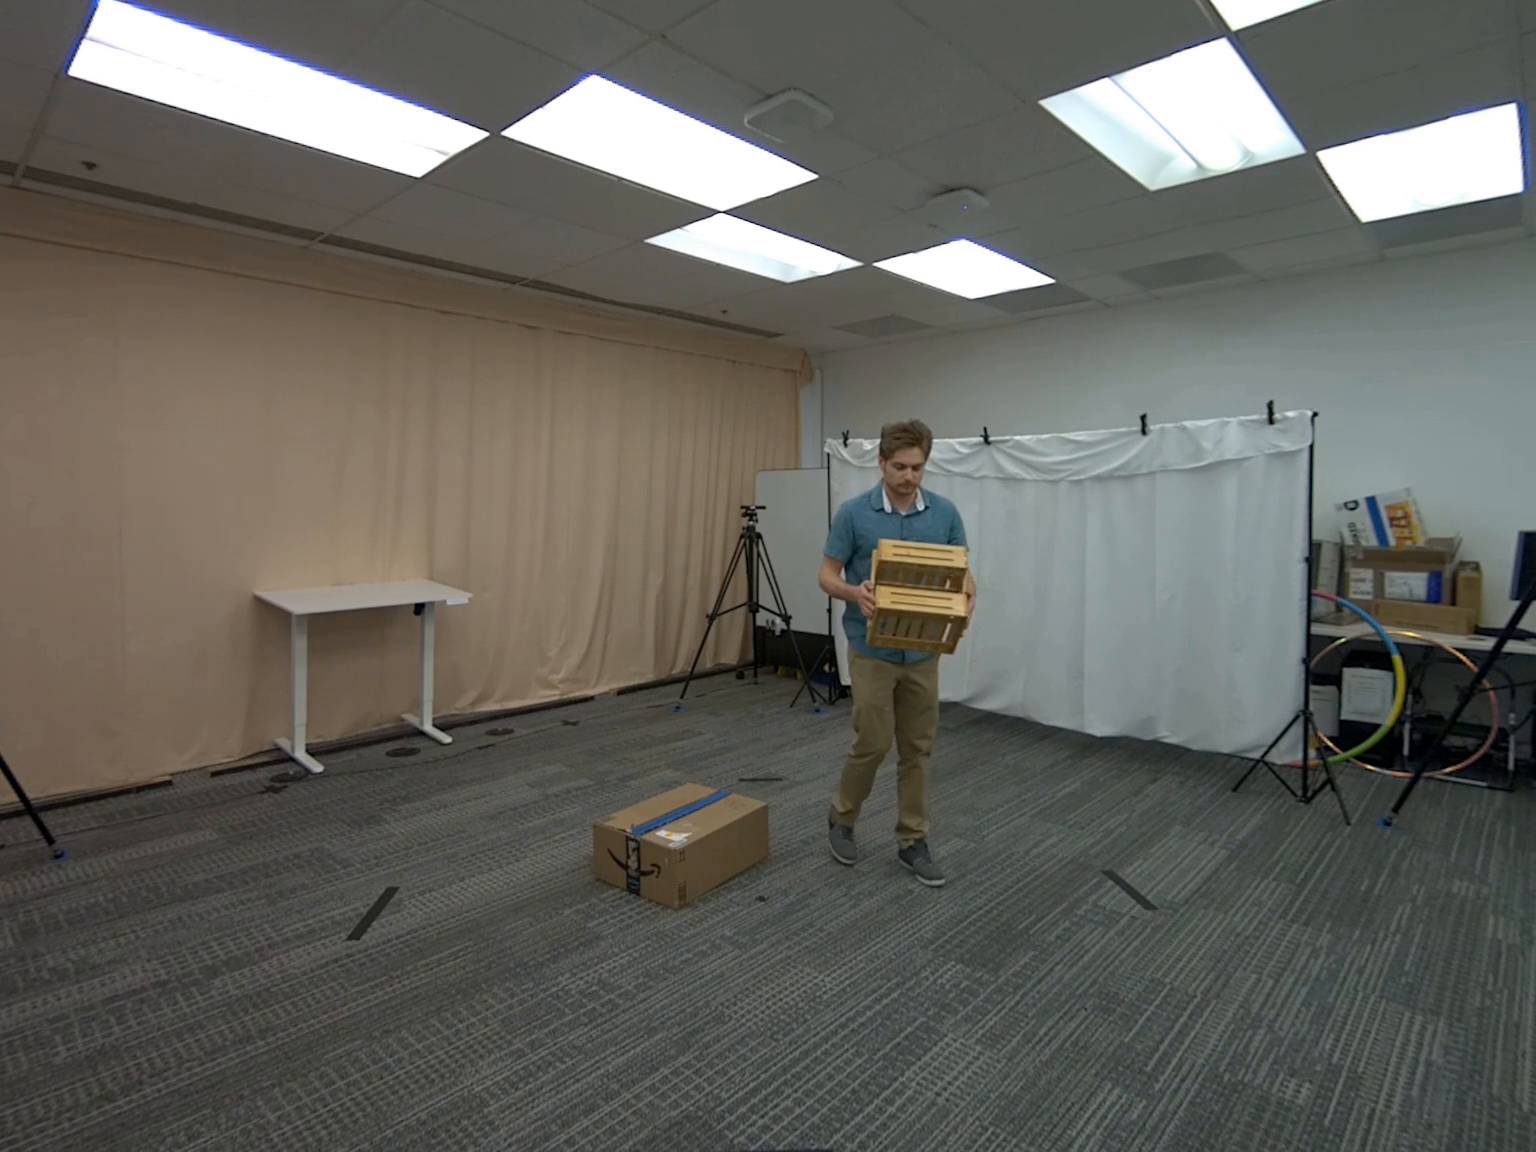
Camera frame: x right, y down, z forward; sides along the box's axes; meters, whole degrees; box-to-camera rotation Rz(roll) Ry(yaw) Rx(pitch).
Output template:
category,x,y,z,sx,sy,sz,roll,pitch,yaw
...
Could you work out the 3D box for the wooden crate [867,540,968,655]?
category,x,y,z,sx,sy,sz,roll,pitch,yaw
wooden crate,0.510,0.073,2.961,0.325,0.277,0.297,4,-39,0
